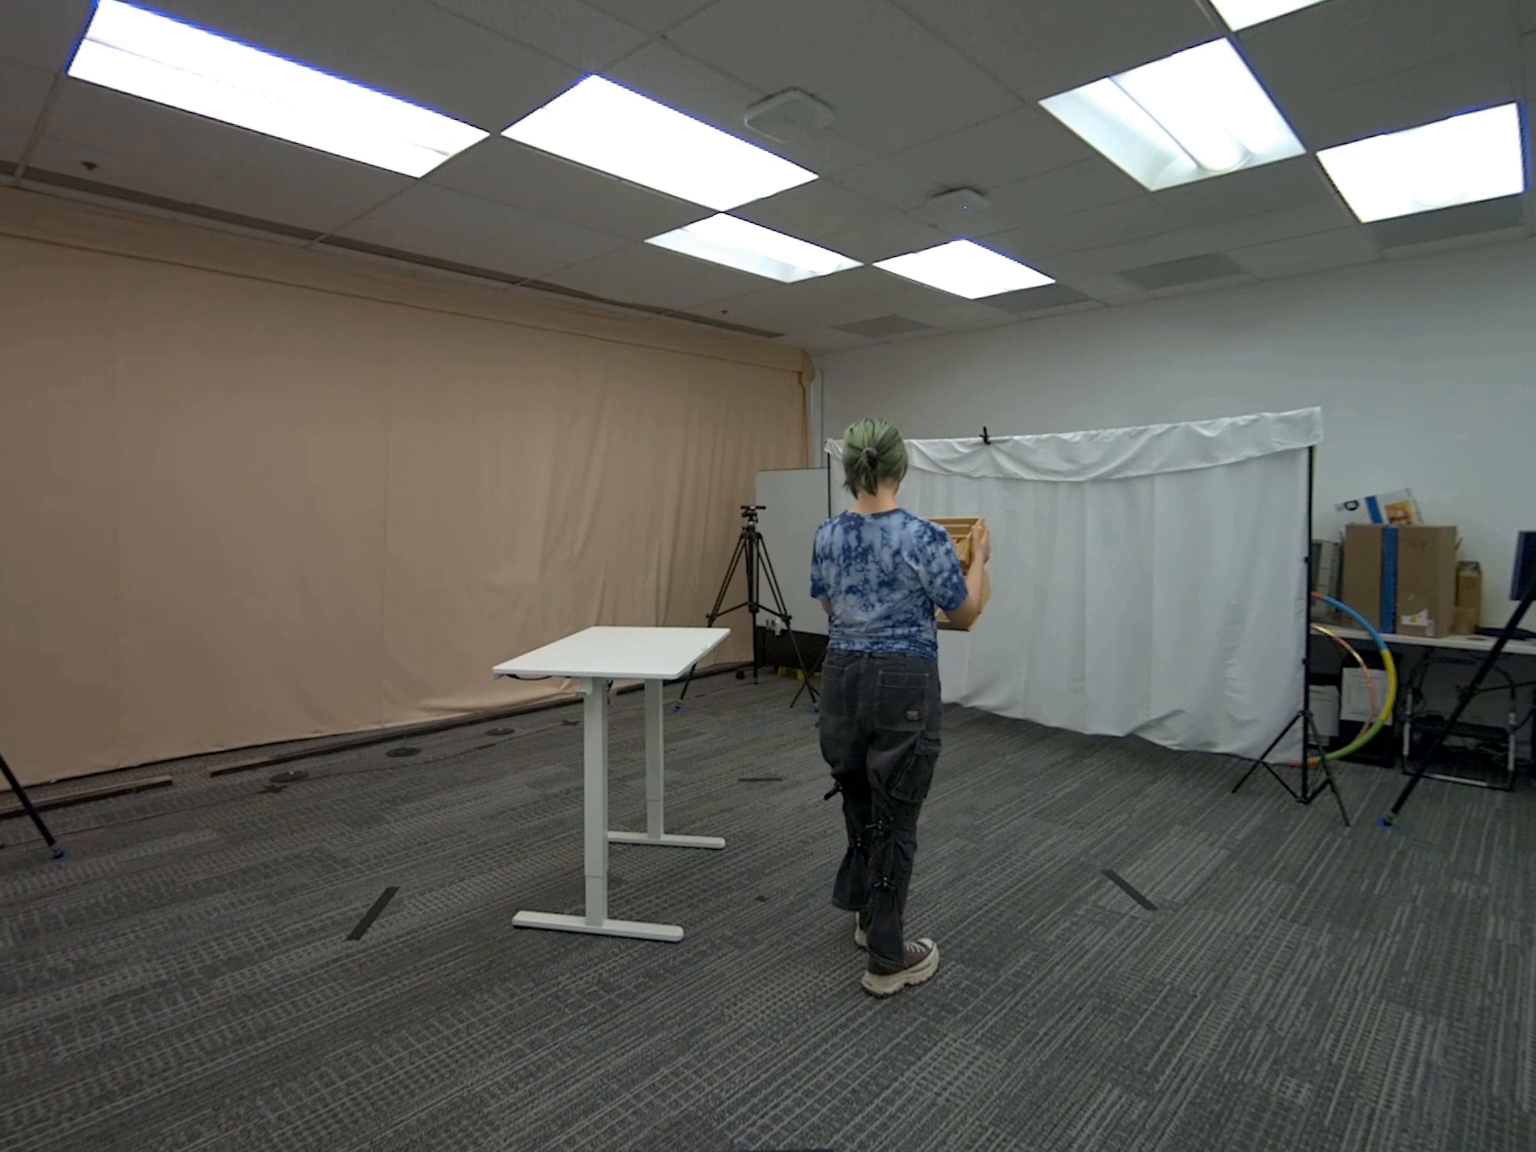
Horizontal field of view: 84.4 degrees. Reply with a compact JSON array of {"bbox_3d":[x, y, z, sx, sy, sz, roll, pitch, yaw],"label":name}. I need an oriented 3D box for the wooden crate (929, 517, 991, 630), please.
[{"bbox_3d":[0.540,-0.012,2.738,0.334,0.268,0.299,1,30,35],"label":"wooden crate"}]
